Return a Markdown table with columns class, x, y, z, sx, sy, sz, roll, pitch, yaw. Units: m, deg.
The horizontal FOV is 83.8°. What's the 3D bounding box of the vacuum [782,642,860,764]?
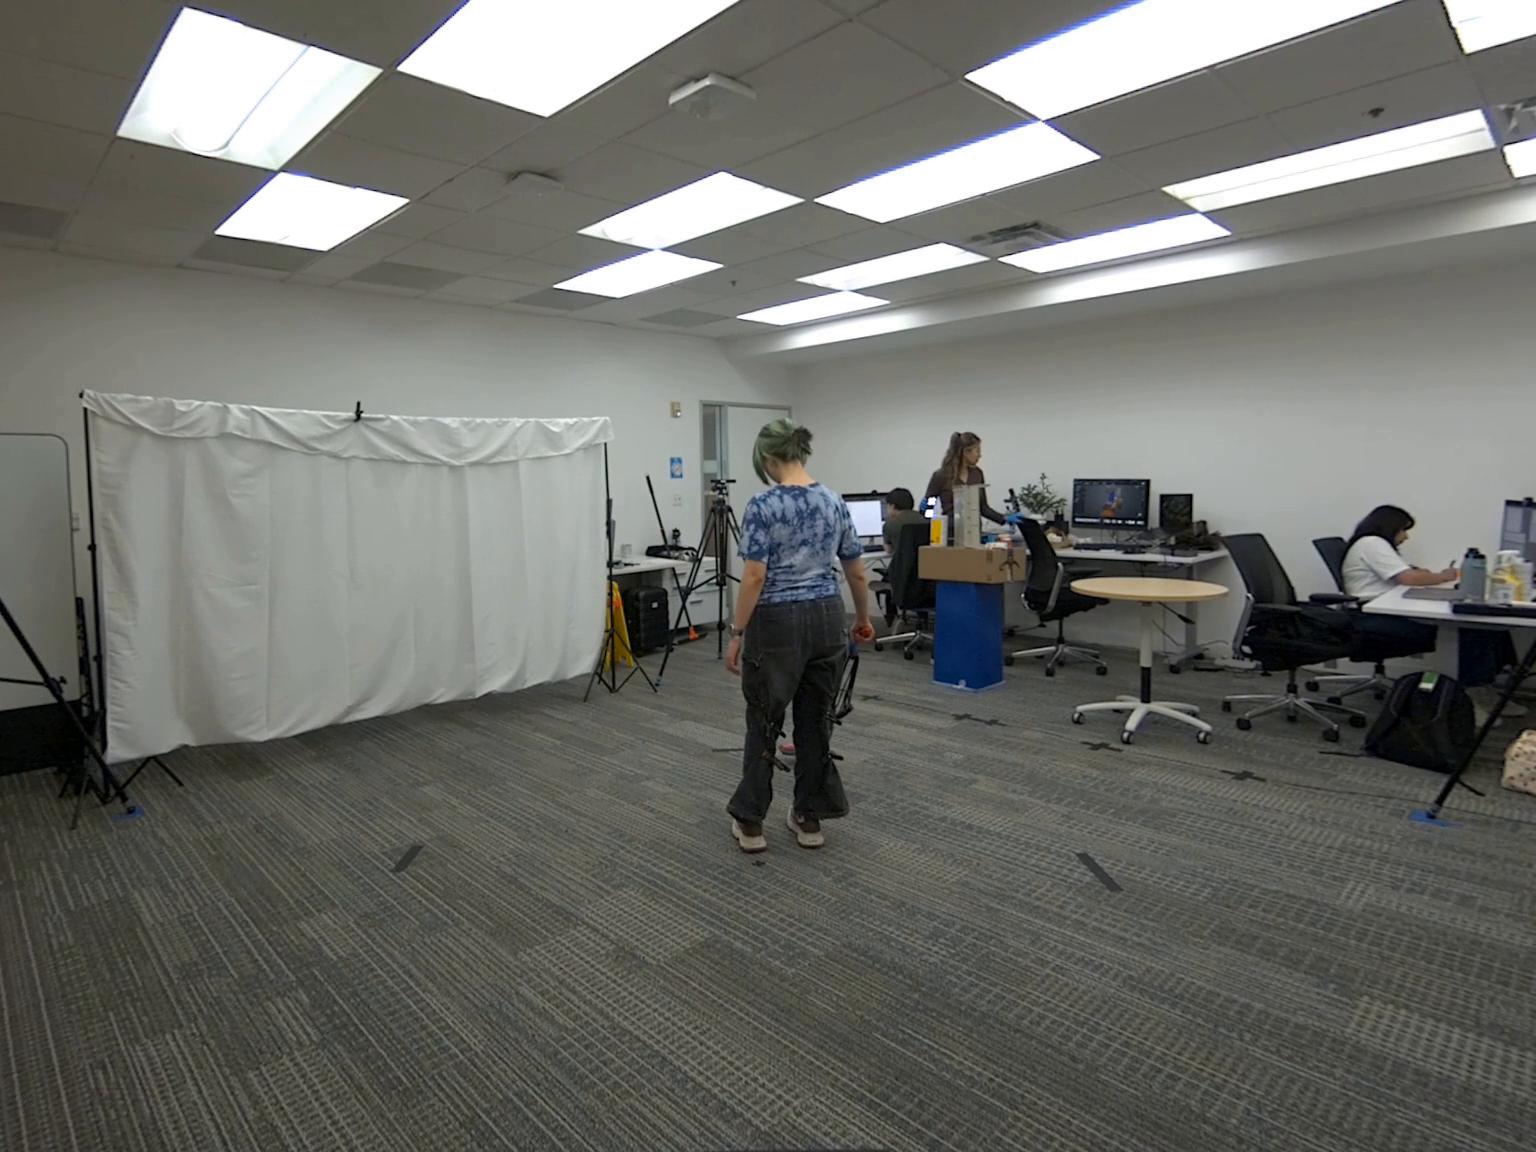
| class | x | y | z | sx | sy | sz | roll | pitch | yaw |
| --- | --- | --- | --- | --- | --- | --- | --- | --- | --- |
| vacuum | 0.296 | 0.562 | 3.832 | 0.249 | 0.149 | 1.031 | -3 | -39 | -18 |
